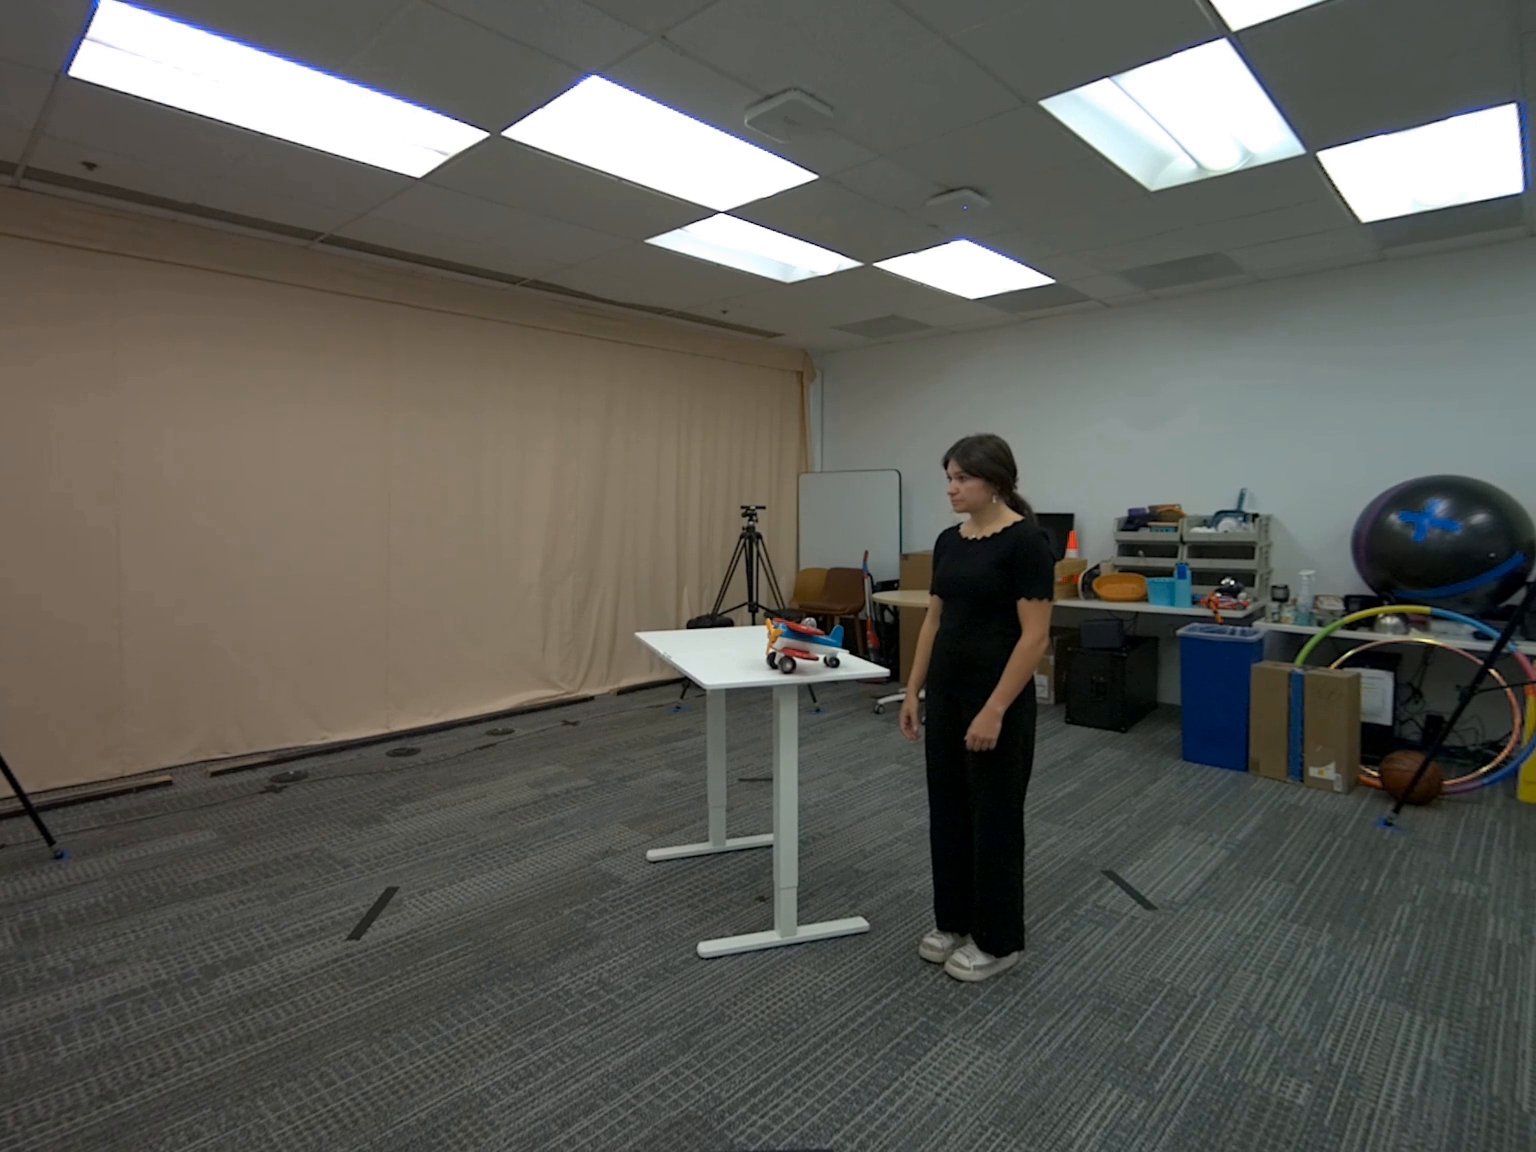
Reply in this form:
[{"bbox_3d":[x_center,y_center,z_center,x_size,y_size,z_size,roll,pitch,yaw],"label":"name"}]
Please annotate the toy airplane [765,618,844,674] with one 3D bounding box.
[{"bbox_3d":[0.115,0.215,2.647,0.259,0.156,0.251,5,8,40],"label":"toy airplane"}]
